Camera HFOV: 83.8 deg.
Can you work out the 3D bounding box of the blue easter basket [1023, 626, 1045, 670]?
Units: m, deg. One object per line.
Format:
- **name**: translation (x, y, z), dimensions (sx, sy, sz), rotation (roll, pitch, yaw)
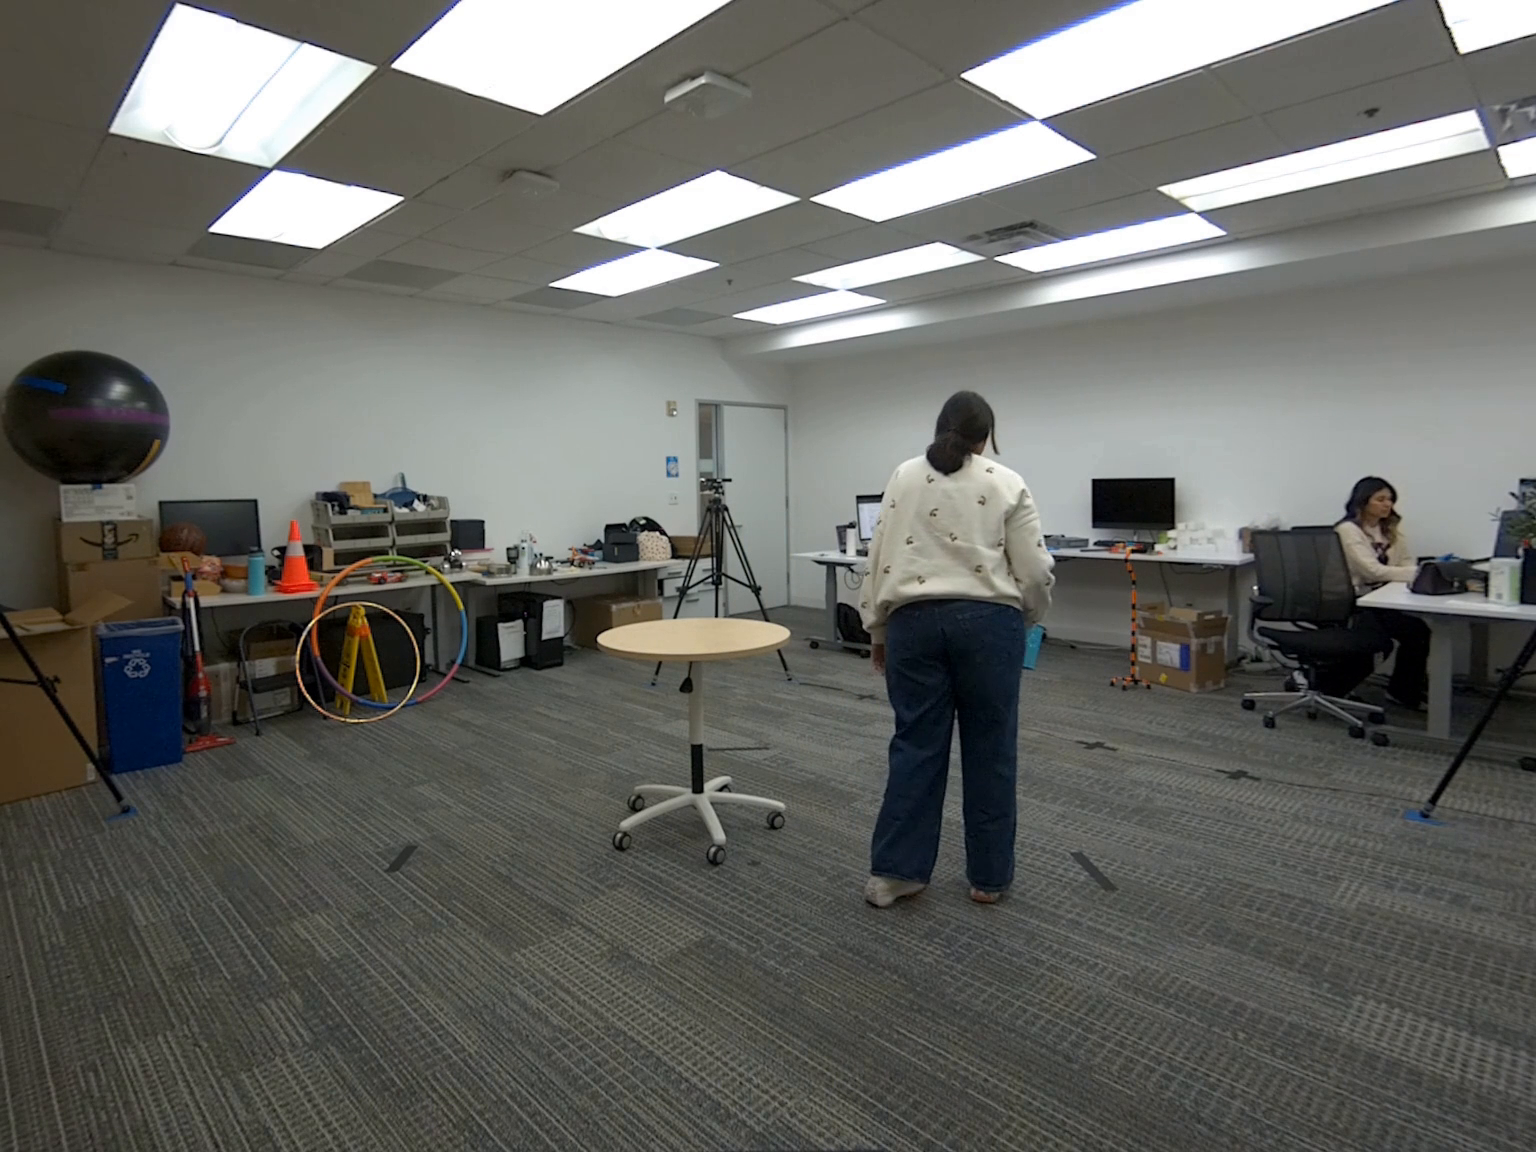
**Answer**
- **blue easter basket**: translation (0.880, 0.249, 3.051), dimensions (0.244, 0.157, 0.241), rotation (10, -9, 0)
